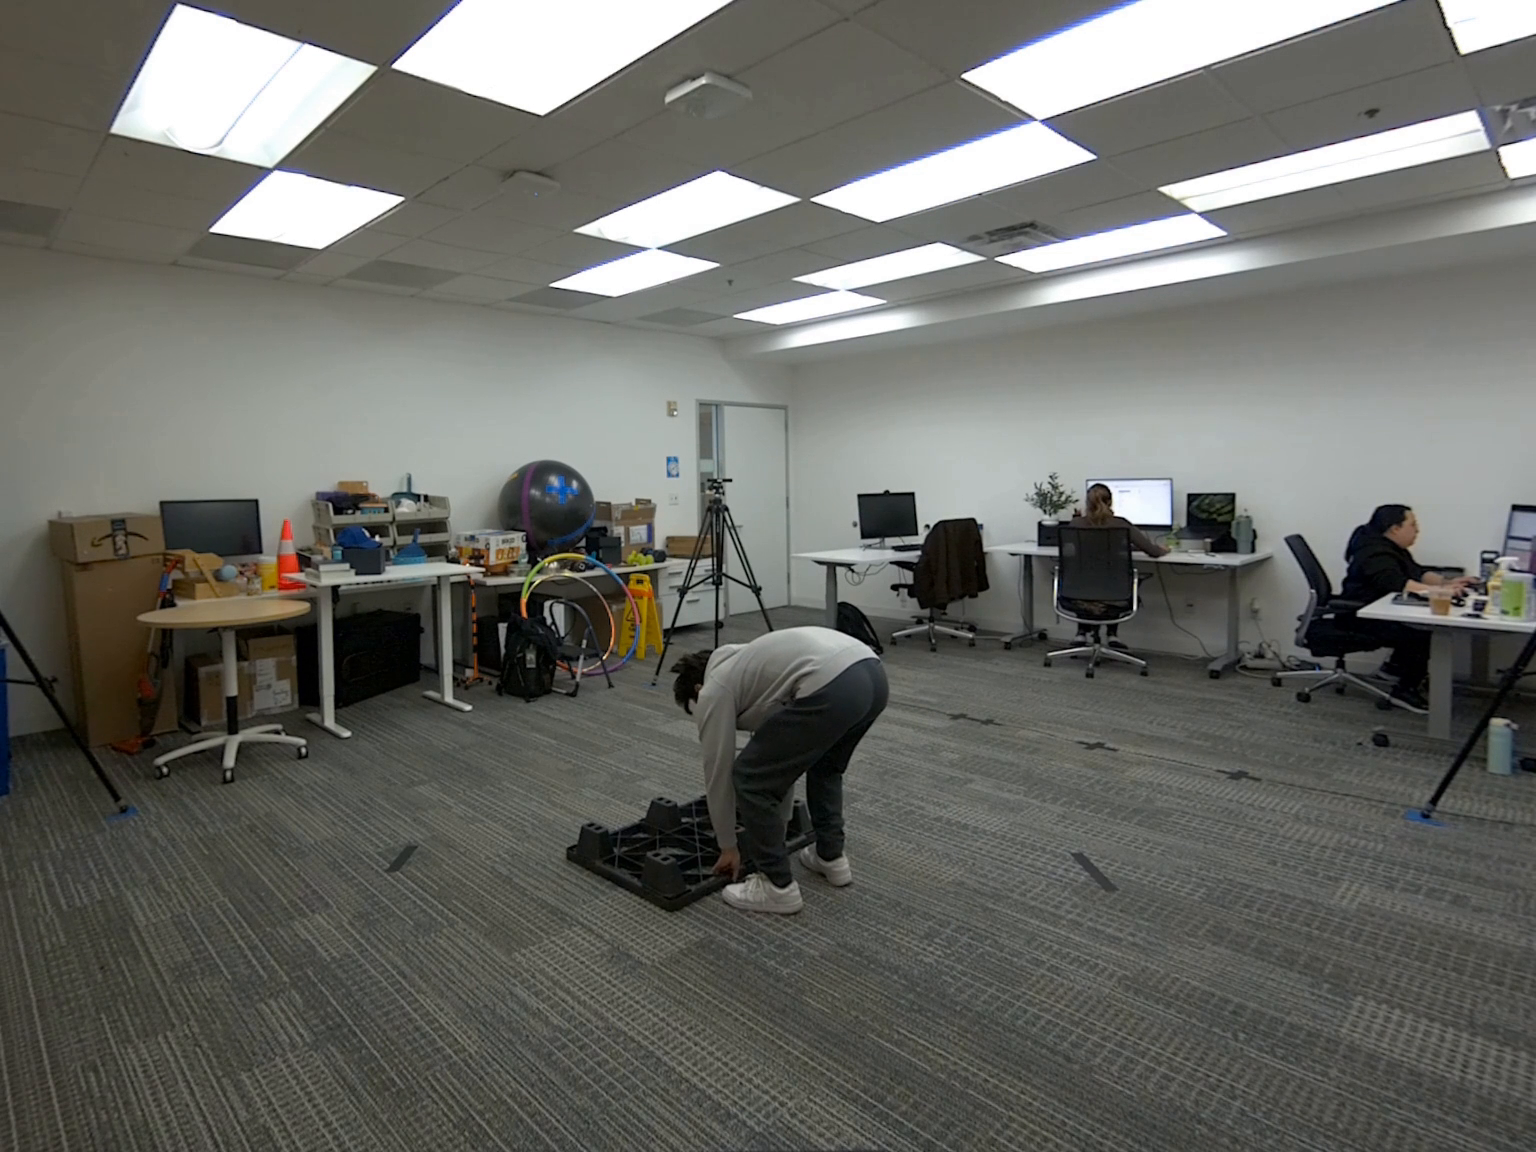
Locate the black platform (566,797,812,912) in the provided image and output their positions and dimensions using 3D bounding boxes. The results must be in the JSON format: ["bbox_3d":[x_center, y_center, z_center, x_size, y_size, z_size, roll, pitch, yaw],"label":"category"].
[{"bbox_3d":[-0.268,0.966,3.248,0.624,0.143,0.784,5,8,42],"label":"black platform"}]
